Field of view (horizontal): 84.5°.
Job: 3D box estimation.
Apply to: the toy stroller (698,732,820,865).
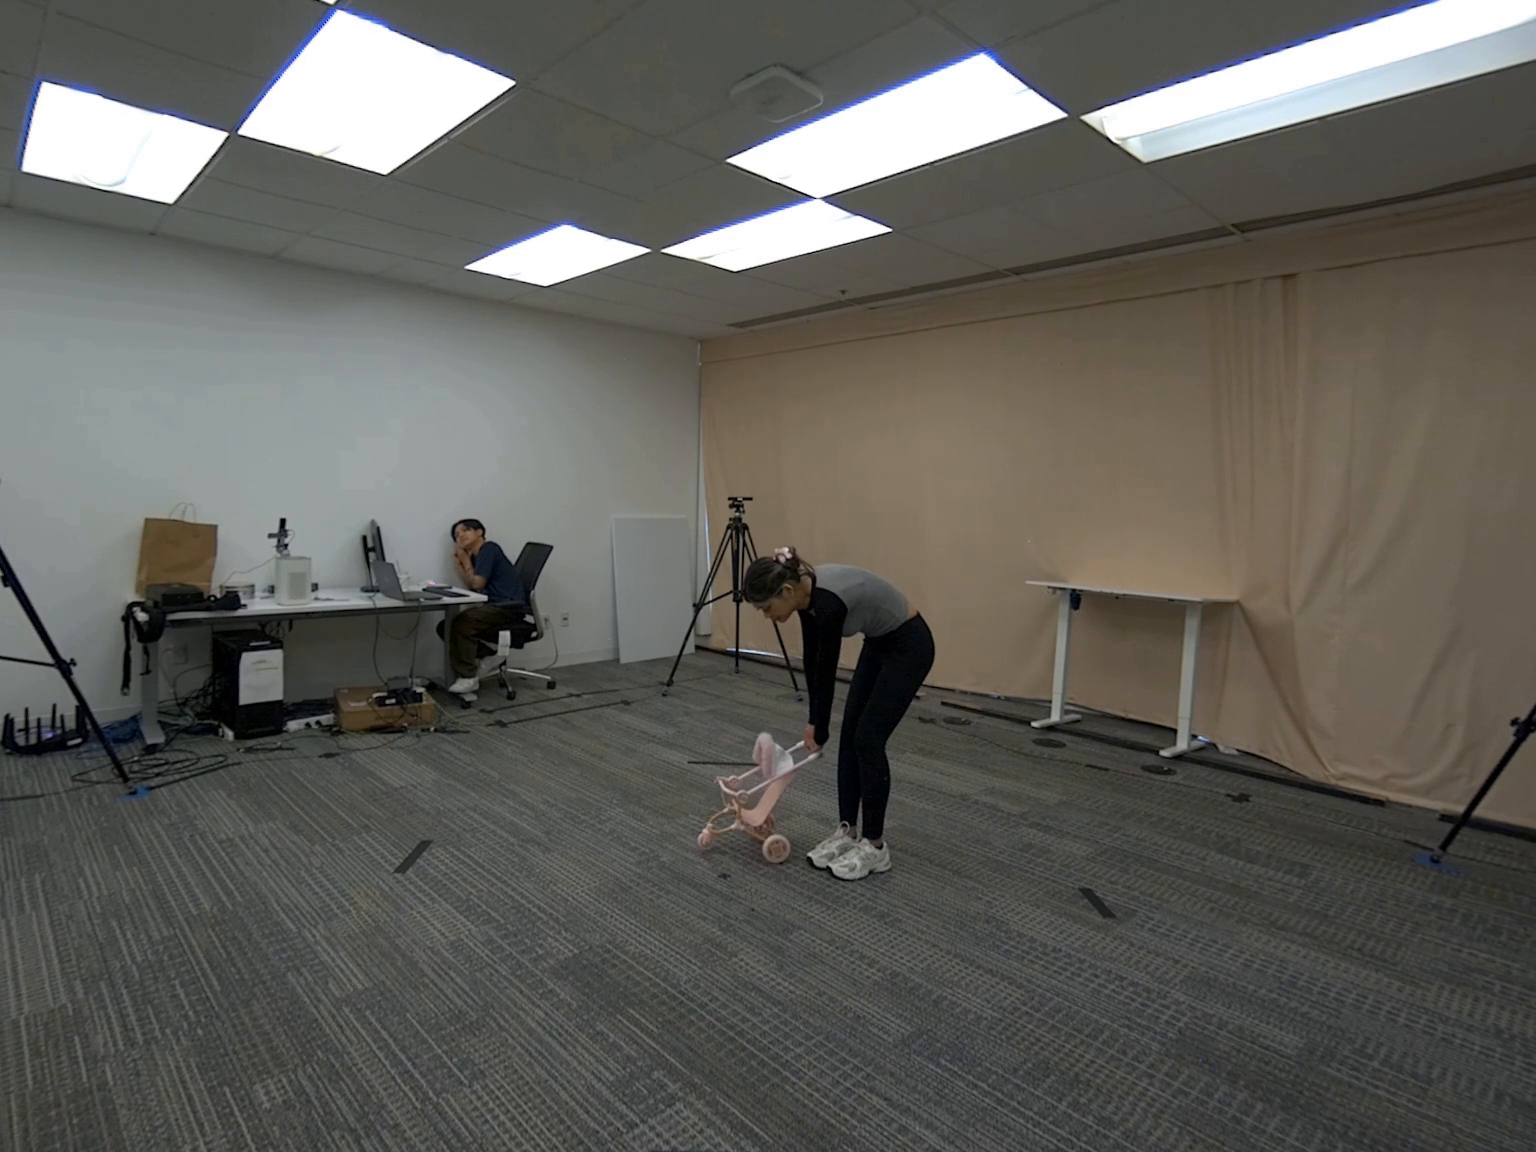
[{"bbox_3d":[-0.050,0.856,3.341,0.339,0.535,0.283,19,-1,-6],"label":"toy stroller"}]
